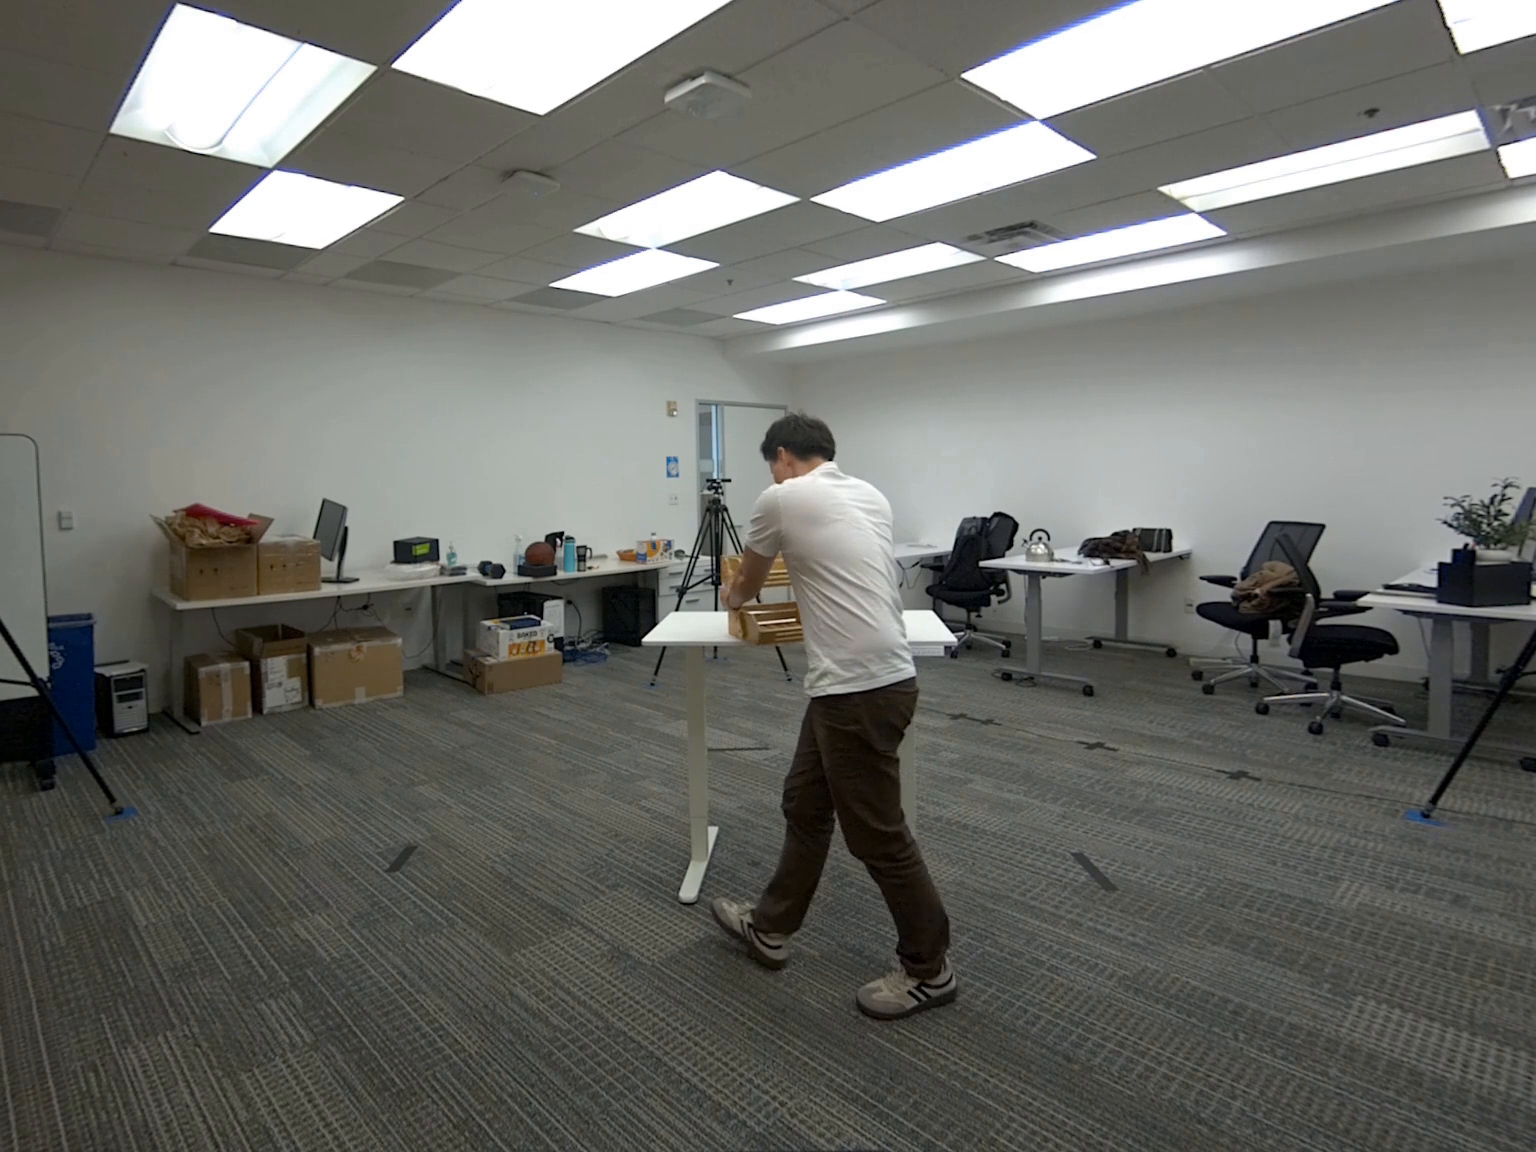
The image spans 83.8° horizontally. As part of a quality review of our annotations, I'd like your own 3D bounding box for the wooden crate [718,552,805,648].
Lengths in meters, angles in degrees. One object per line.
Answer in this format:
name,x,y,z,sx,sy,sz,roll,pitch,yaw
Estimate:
wooden crate,0.045,0.060,2.823,0.318,0.272,0.309,-3,5,-22
